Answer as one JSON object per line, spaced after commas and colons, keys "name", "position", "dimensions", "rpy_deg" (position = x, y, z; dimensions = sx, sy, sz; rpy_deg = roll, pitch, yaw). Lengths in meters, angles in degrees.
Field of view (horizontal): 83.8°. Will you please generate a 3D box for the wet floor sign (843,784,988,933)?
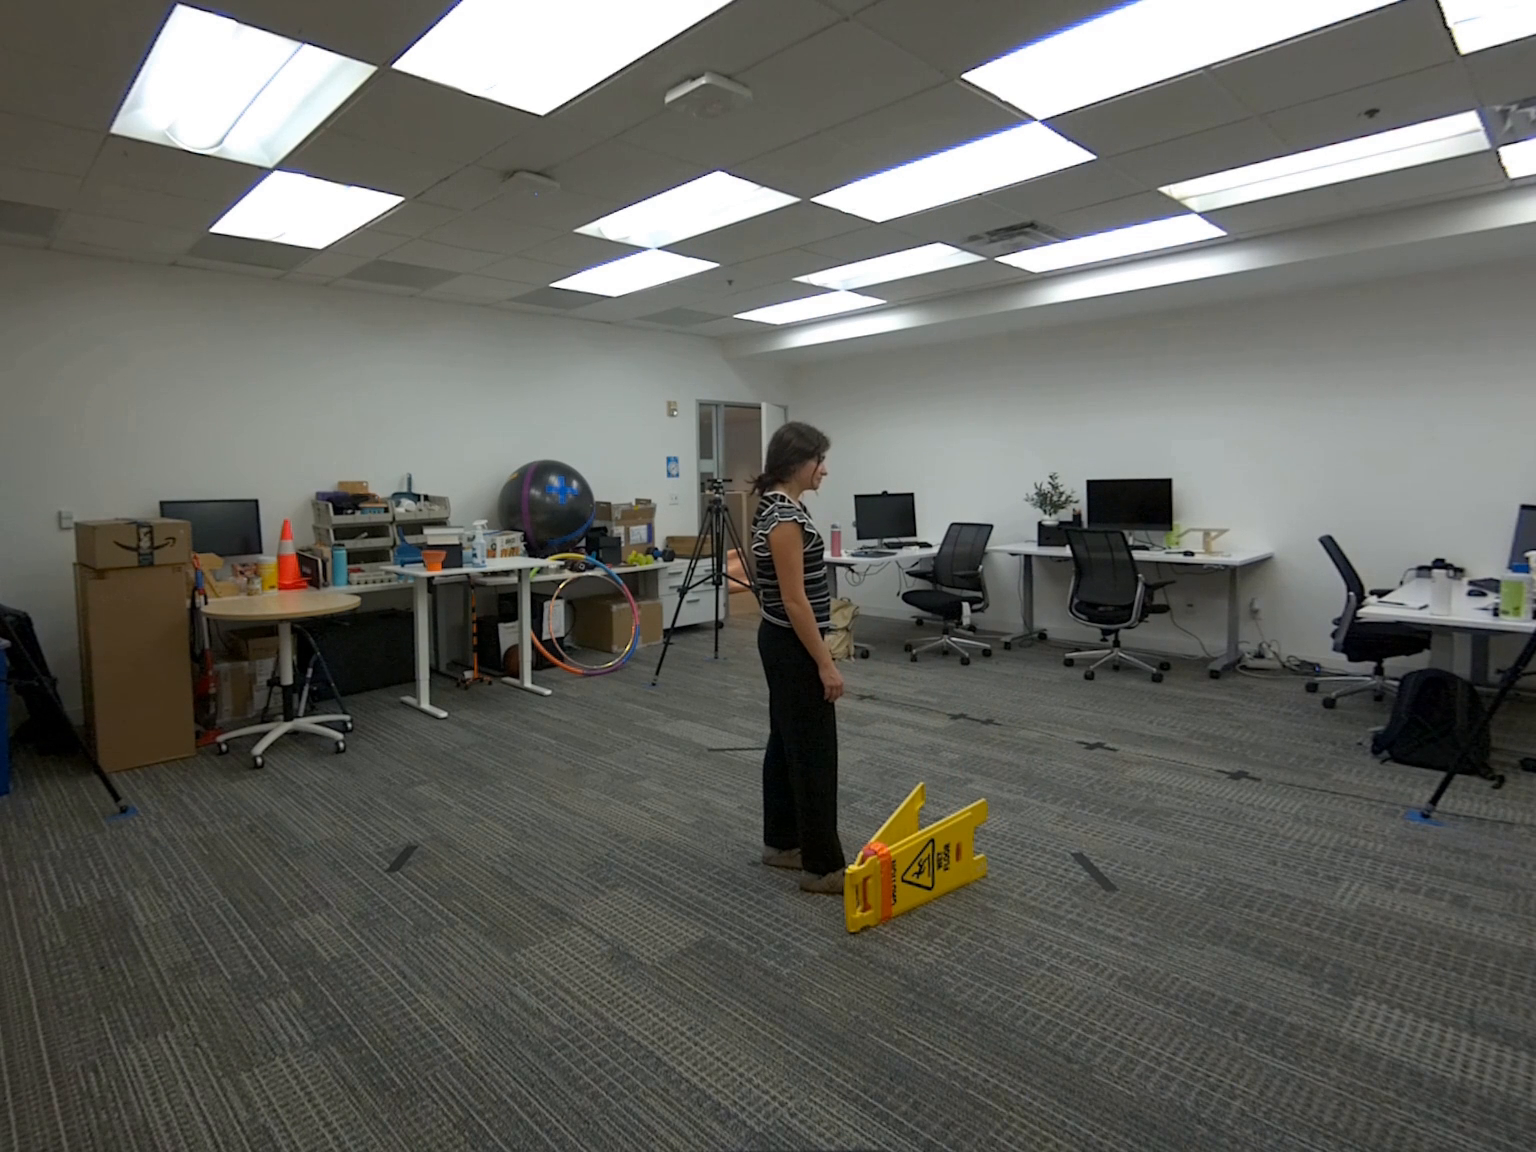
{"name": "wet floor sign", "position": [0.461, 0.945, 2.818], "dimensions": [0.299, 0.280, 0.631], "rpy_deg": [5, 11, 41]}
